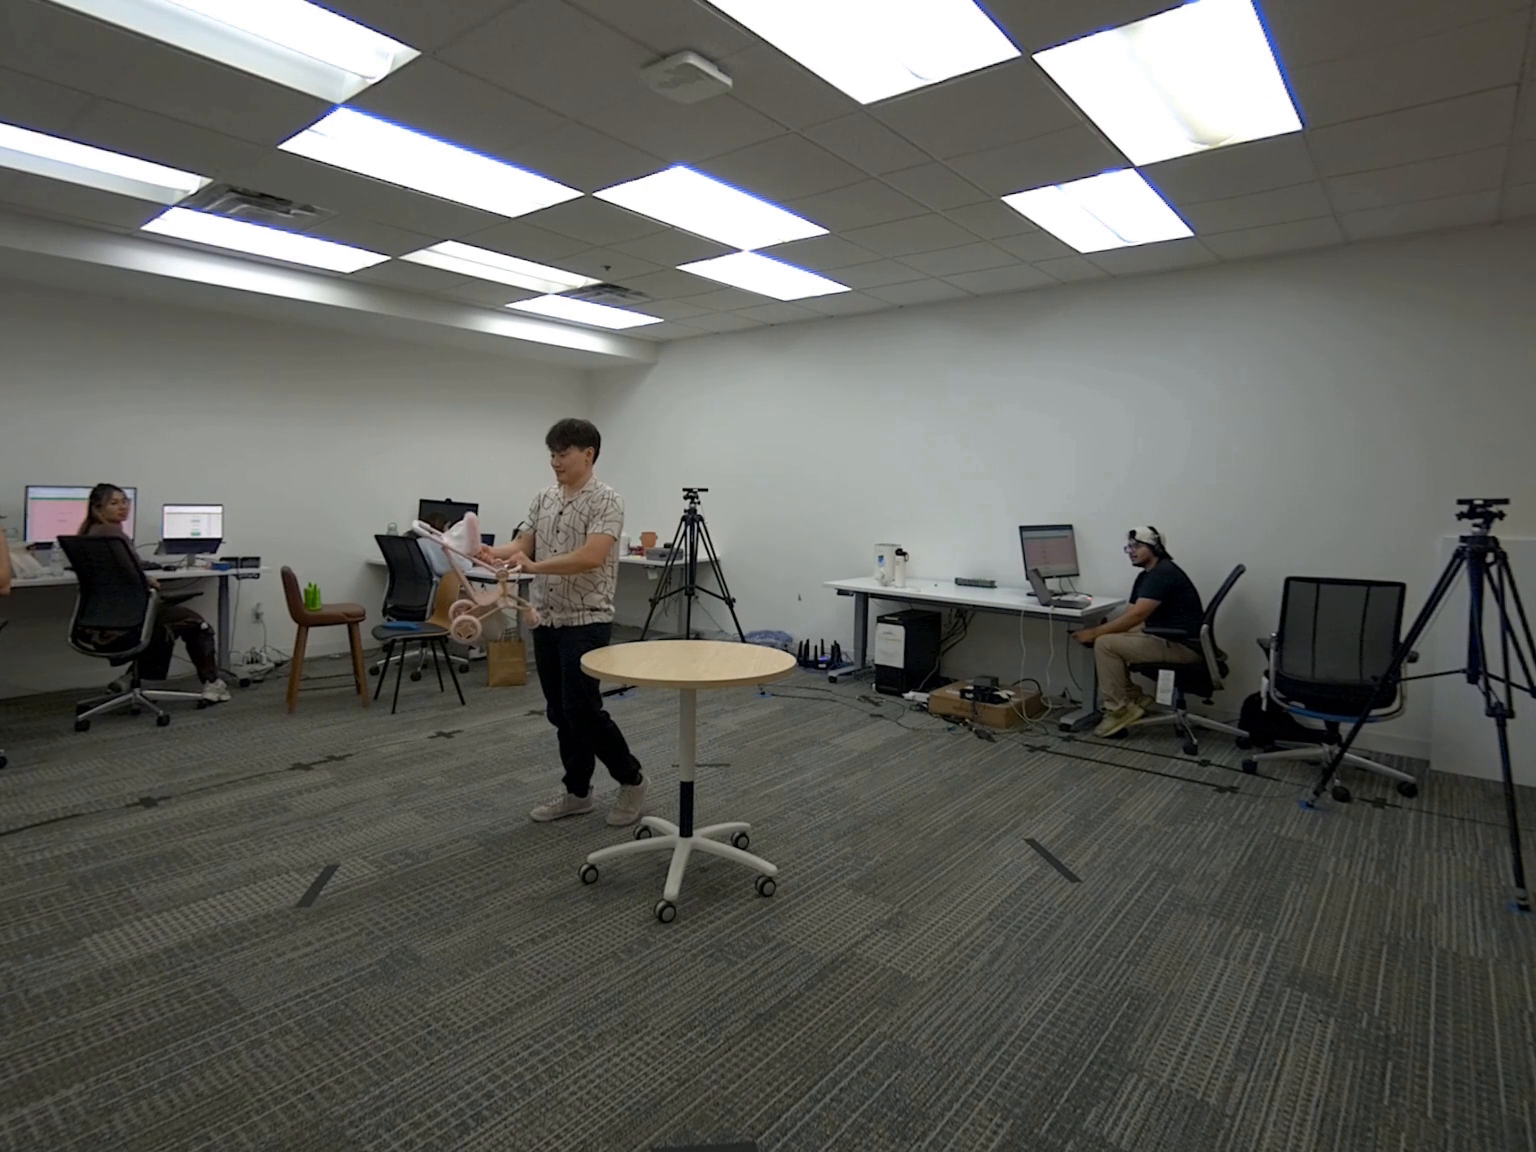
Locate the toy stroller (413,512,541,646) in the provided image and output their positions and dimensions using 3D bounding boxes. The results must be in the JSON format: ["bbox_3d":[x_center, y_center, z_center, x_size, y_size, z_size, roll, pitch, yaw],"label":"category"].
[{"bbox_3d":[-1.101,-0.007,3.211,0.338,0.526,0.288,-18,15,-11],"label":"toy stroller"}]
